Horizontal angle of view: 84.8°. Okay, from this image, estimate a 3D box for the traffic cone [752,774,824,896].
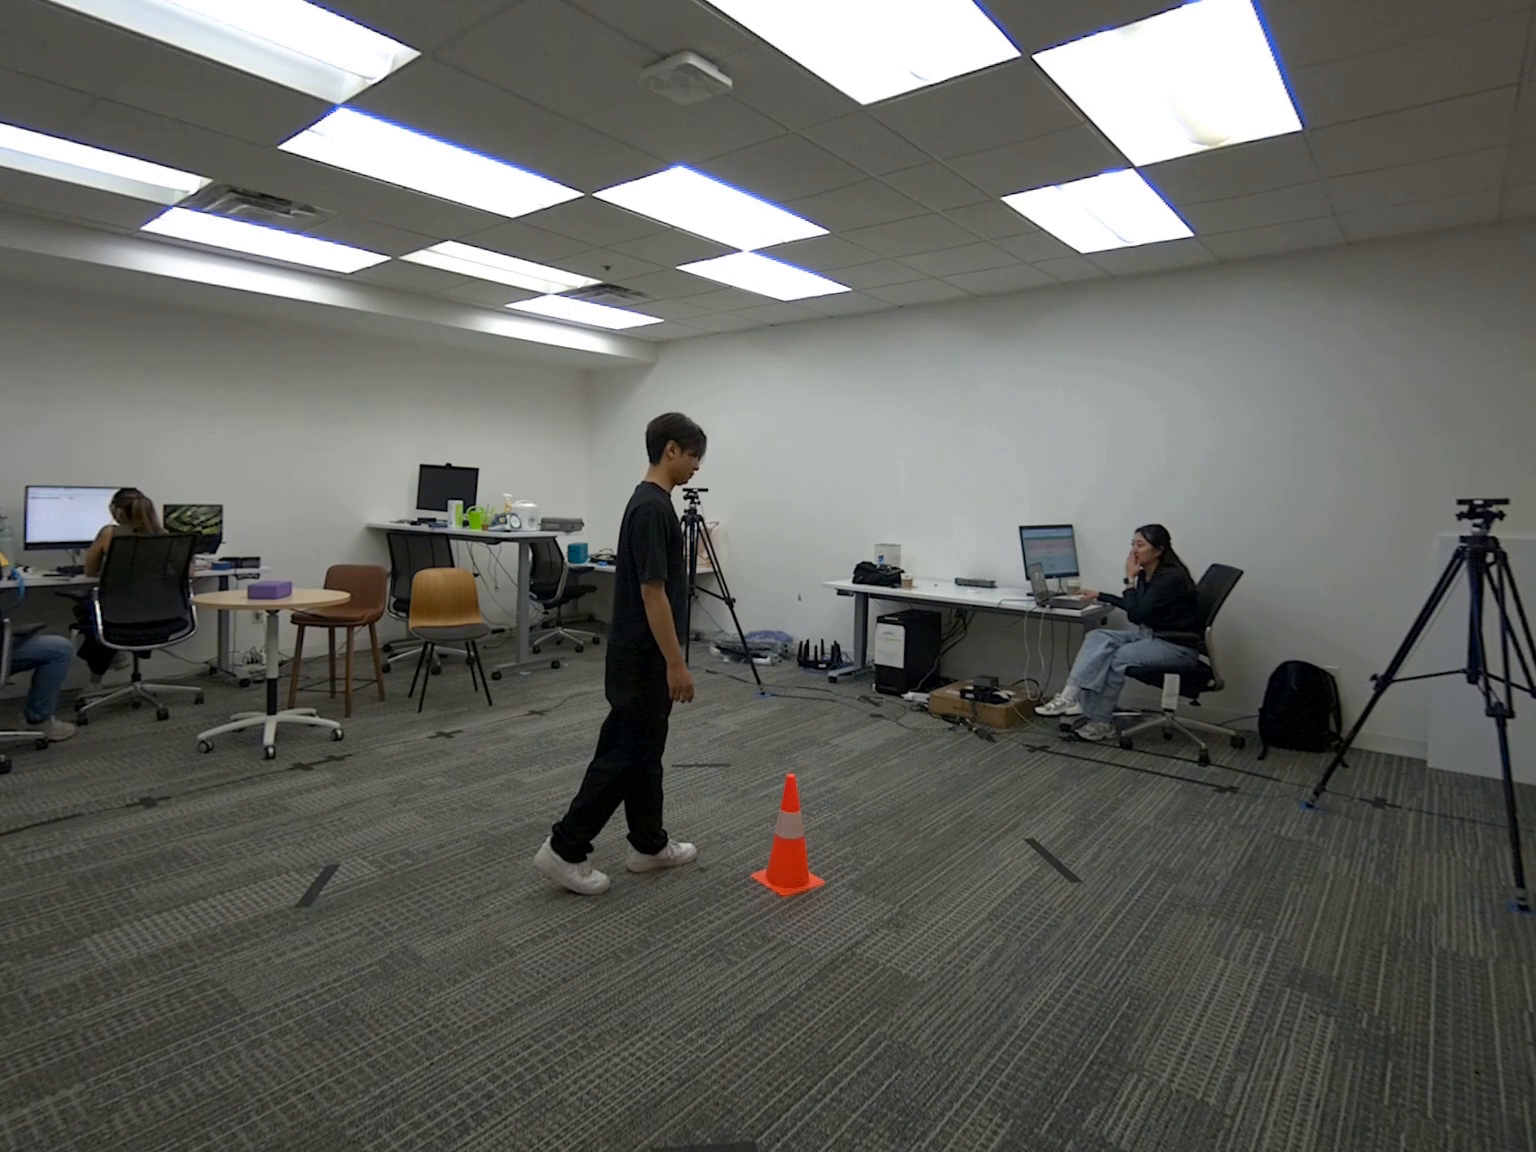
[{"bbox_3d":[0.071,0.906,3.027,0.197,0.382,0.212,-2,7,-39],"label":"traffic cone"}]
